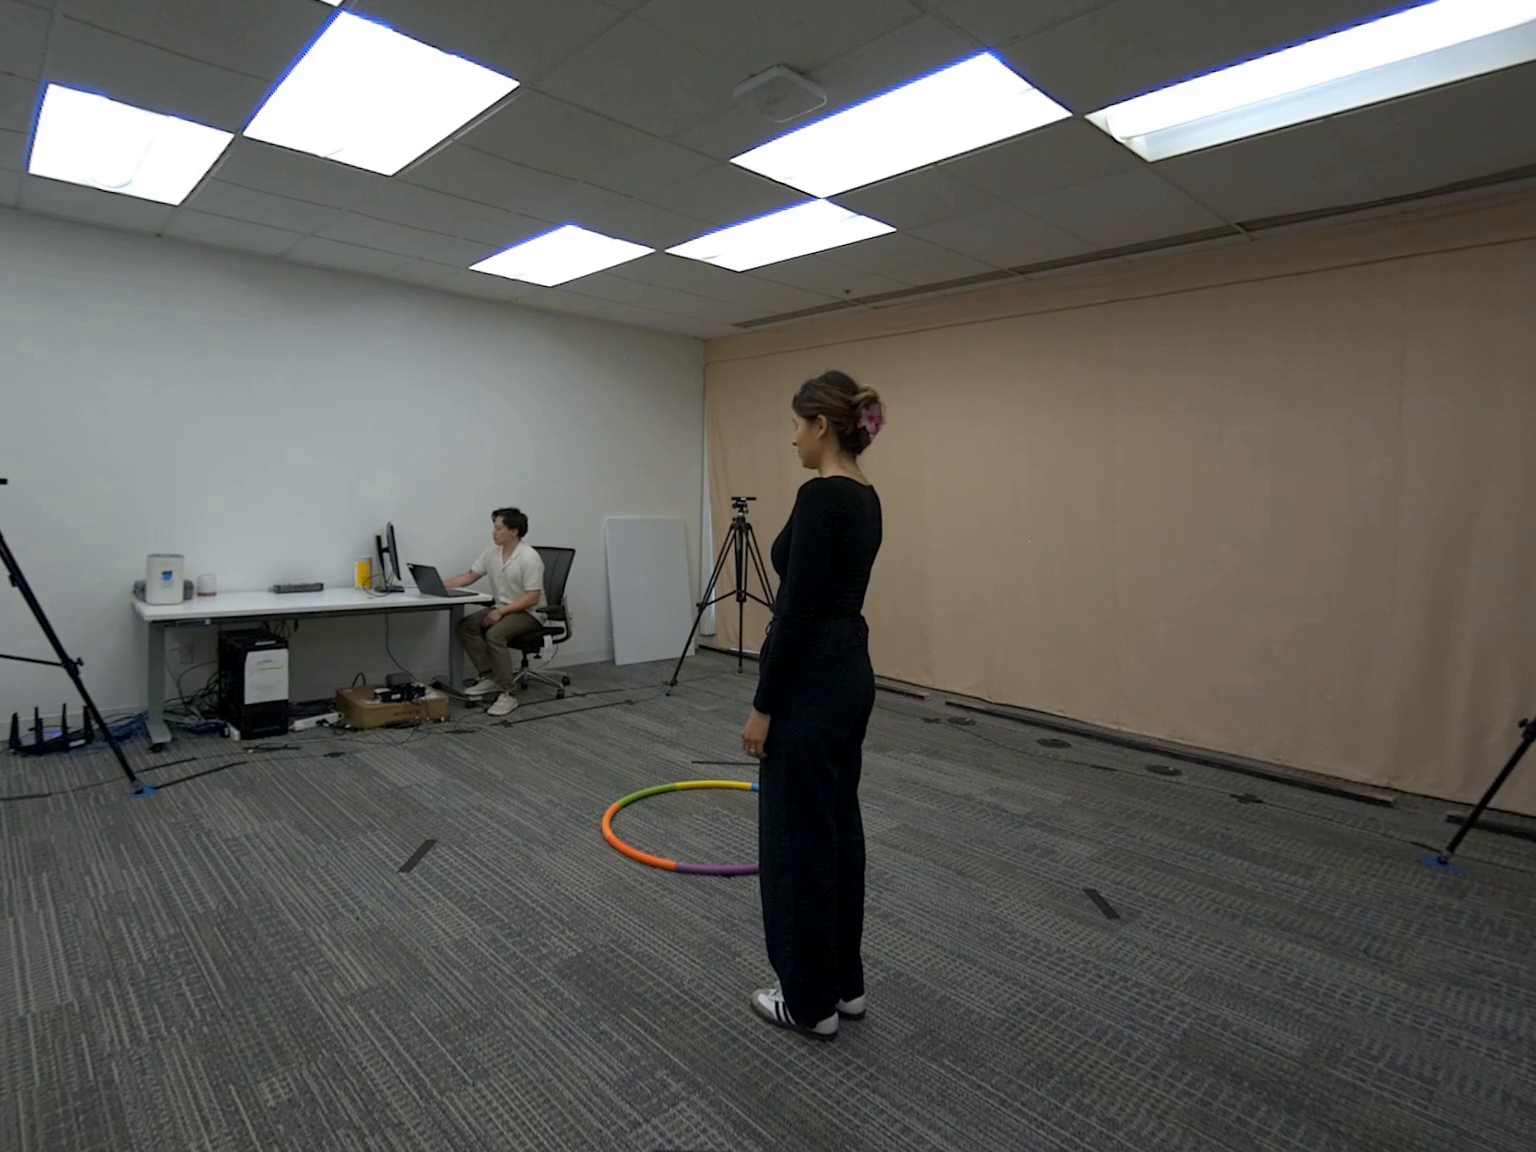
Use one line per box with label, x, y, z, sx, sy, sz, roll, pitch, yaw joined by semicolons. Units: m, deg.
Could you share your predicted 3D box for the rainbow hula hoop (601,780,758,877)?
rainbow hula hoop;-0.213;1.033;3.583;0.978;0.035;0.982;2;5;-1
